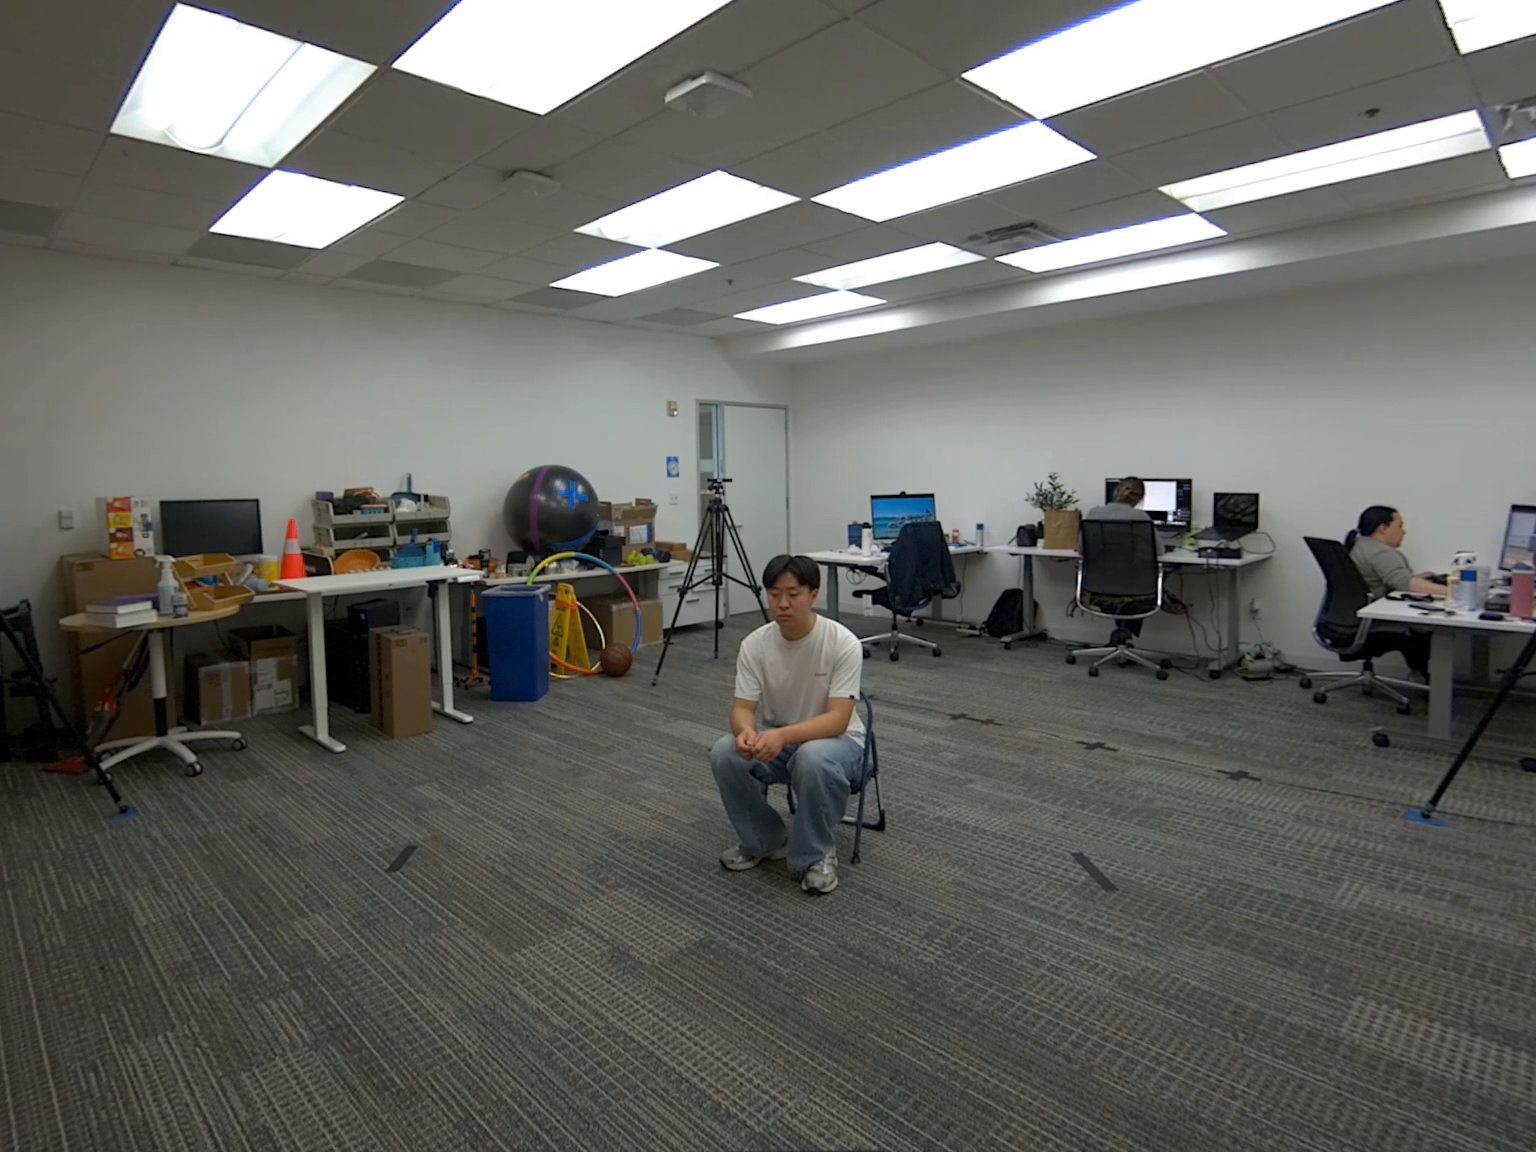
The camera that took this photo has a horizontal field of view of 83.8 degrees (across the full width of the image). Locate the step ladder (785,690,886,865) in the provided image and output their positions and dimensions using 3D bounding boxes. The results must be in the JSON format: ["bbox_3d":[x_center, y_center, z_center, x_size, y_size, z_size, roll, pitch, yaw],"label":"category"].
[{"bbox_3d":[0.214,0.717,3.327,0.442,0.604,0.342,3,5,28],"label":"step ladder"}]
